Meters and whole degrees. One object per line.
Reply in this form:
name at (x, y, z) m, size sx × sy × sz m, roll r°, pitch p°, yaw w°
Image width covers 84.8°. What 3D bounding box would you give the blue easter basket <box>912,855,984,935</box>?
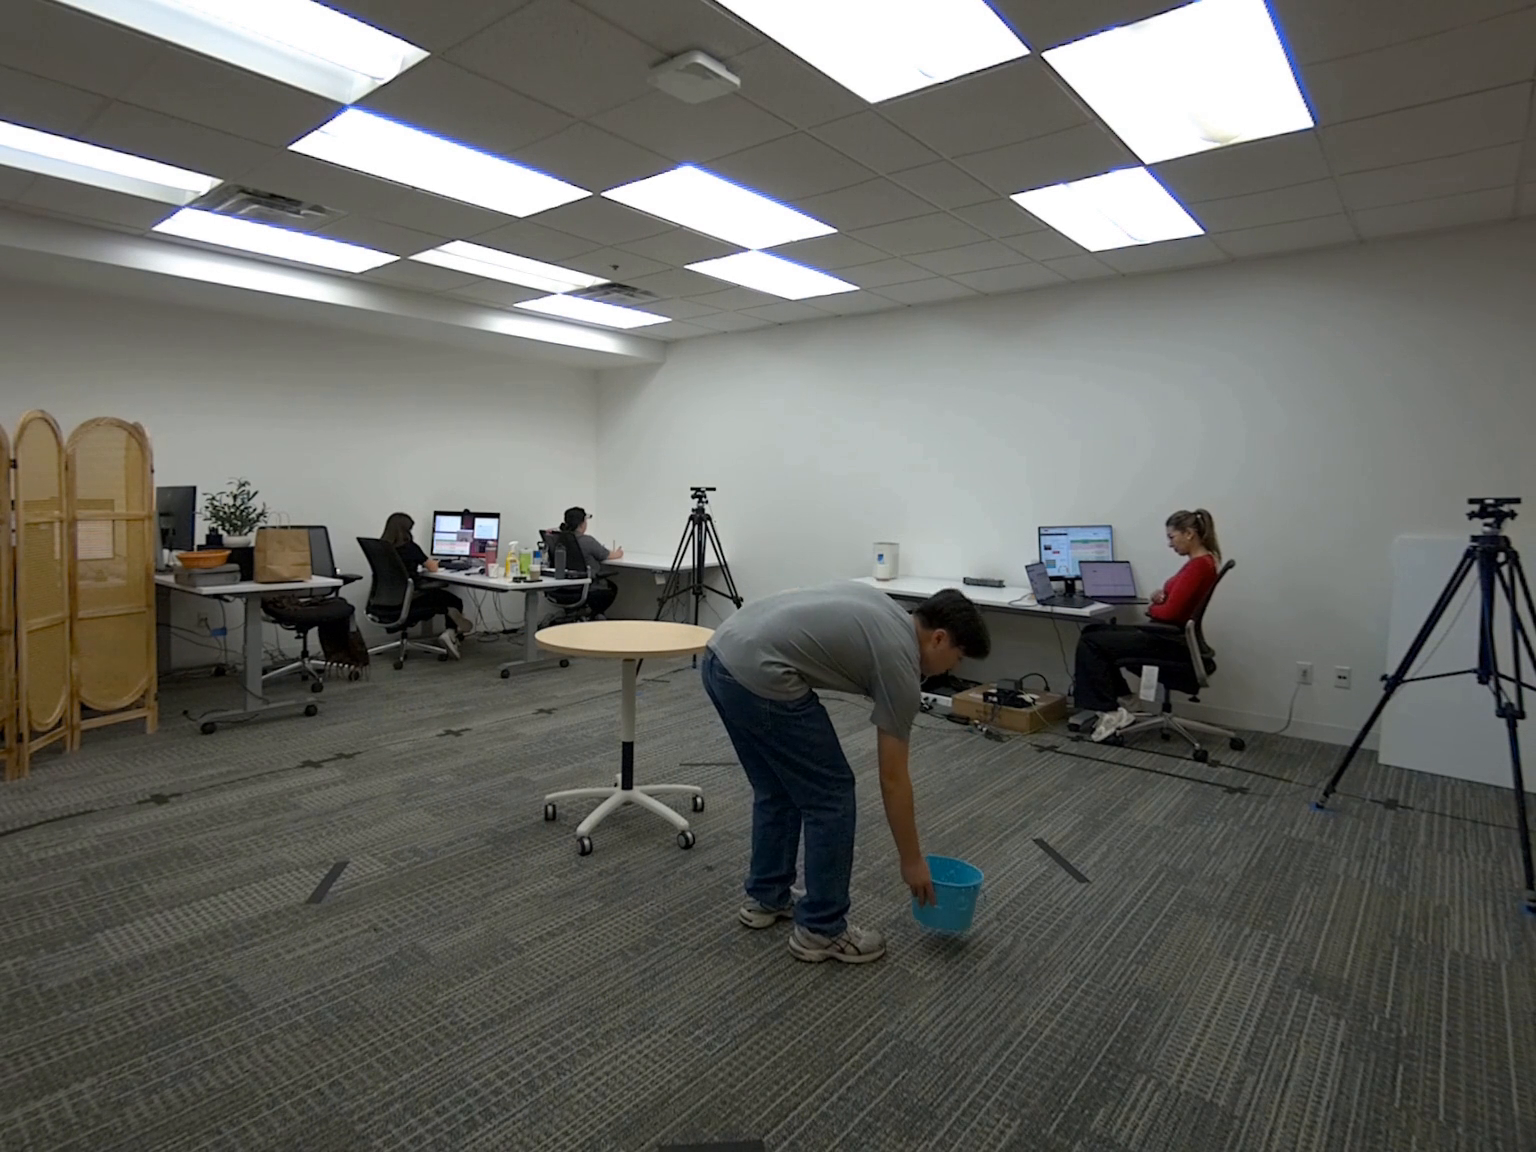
blue easter basket at (0.542, 0.975, 2.630) m, size 0.243 × 0.155 × 0.244 m, roll 4°, pitch 3°, yaw -2°
